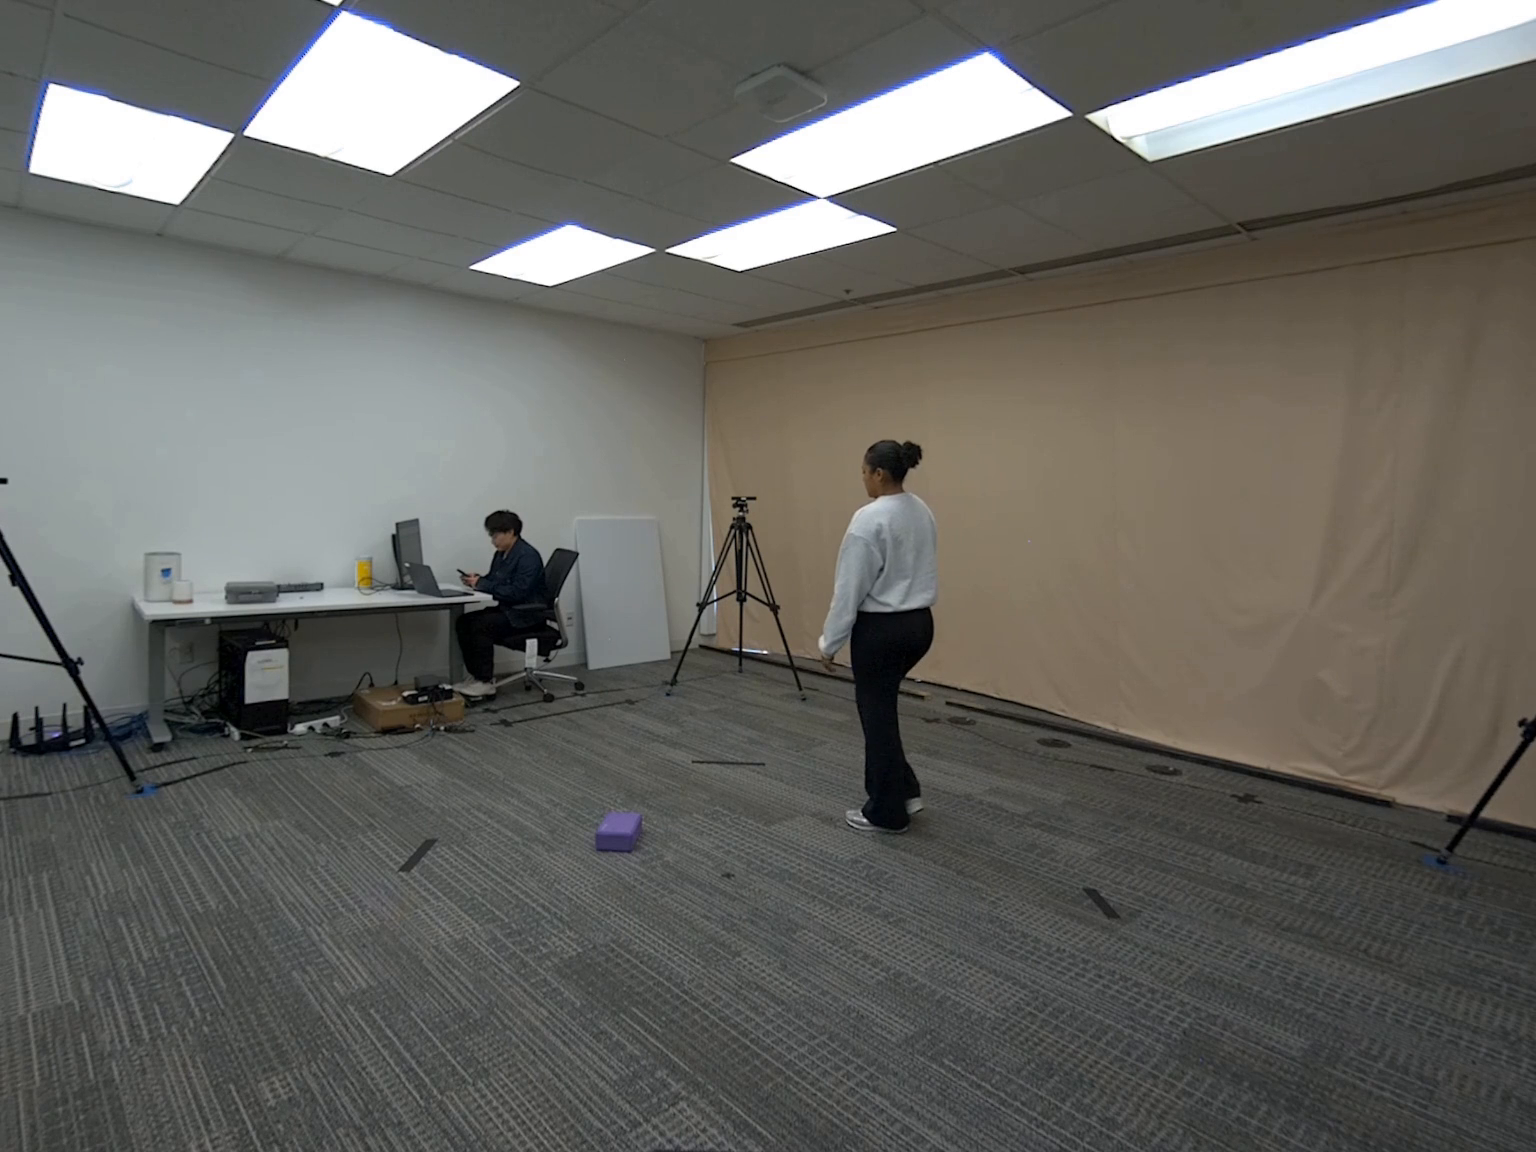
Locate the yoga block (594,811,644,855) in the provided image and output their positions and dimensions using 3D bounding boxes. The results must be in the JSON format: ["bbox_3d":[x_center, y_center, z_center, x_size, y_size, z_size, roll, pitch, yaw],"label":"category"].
[{"bbox_3d":[-0.609,1.030,3.397,0.149,0.076,0.229,3,5,3],"label":"yoga block"}]
